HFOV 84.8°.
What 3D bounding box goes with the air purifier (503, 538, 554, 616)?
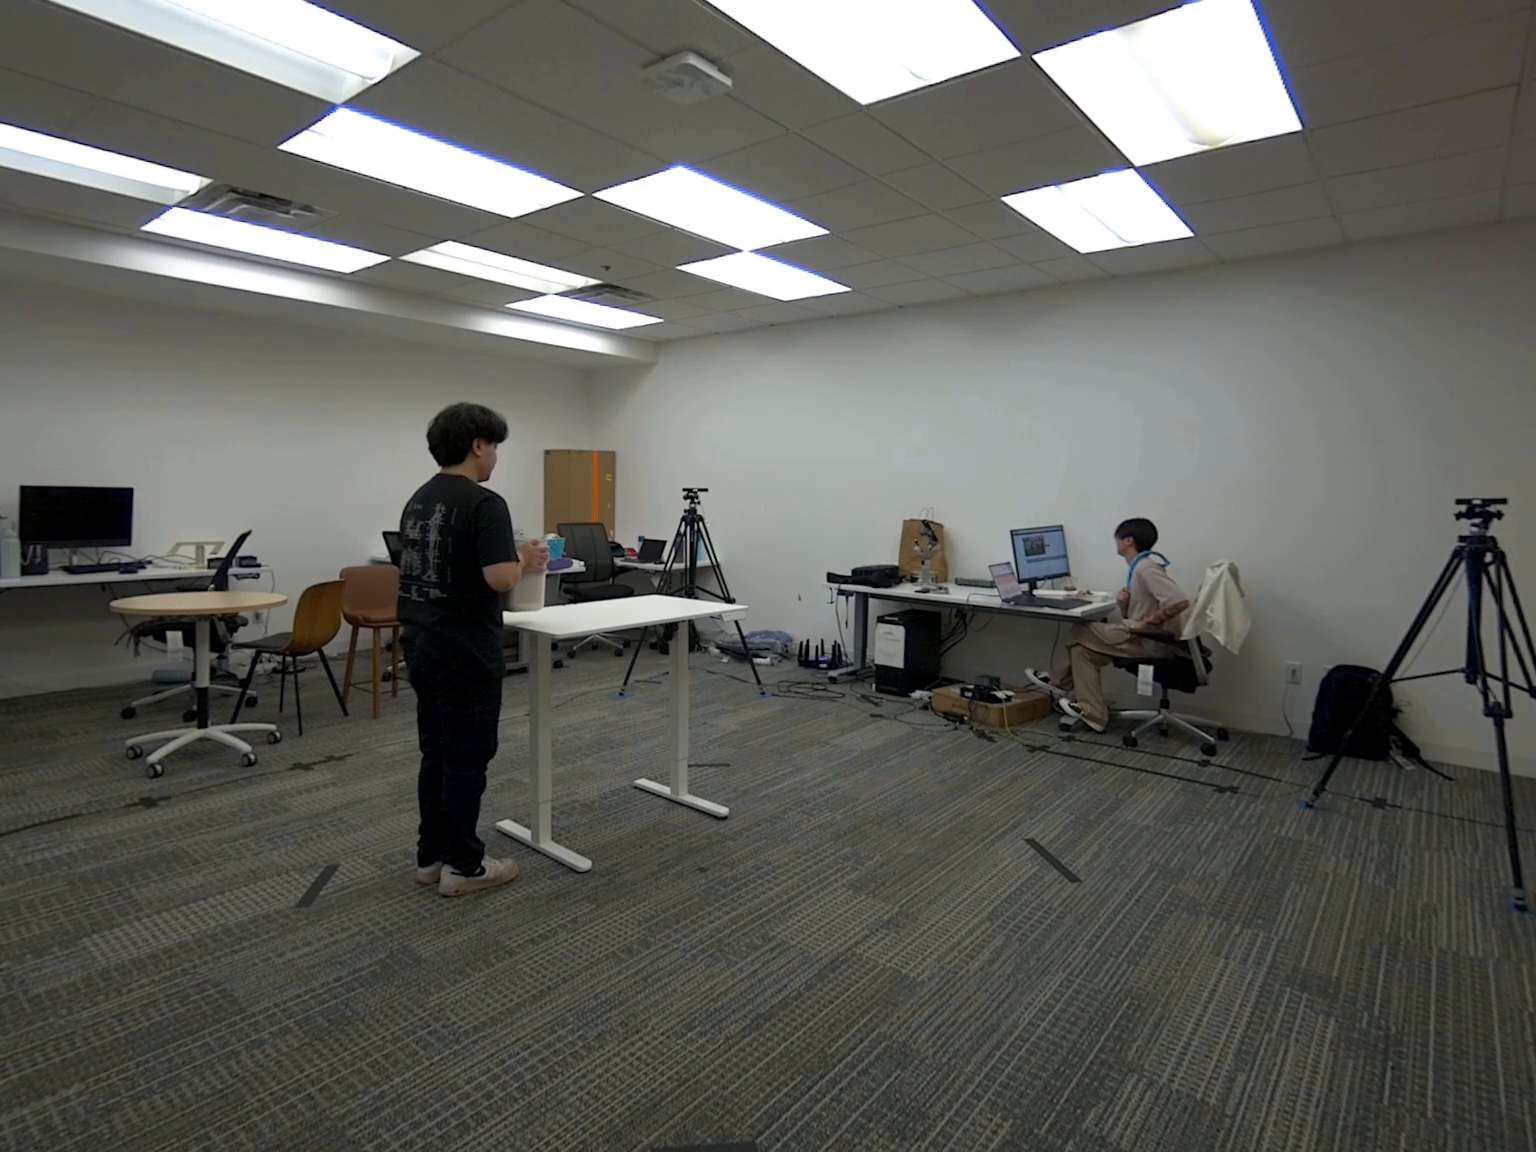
[{"bbox_3d":[-0.933,-0.003,3.134,0.177,0.265,0.166,6,3,41],"label":"air purifier"}]
